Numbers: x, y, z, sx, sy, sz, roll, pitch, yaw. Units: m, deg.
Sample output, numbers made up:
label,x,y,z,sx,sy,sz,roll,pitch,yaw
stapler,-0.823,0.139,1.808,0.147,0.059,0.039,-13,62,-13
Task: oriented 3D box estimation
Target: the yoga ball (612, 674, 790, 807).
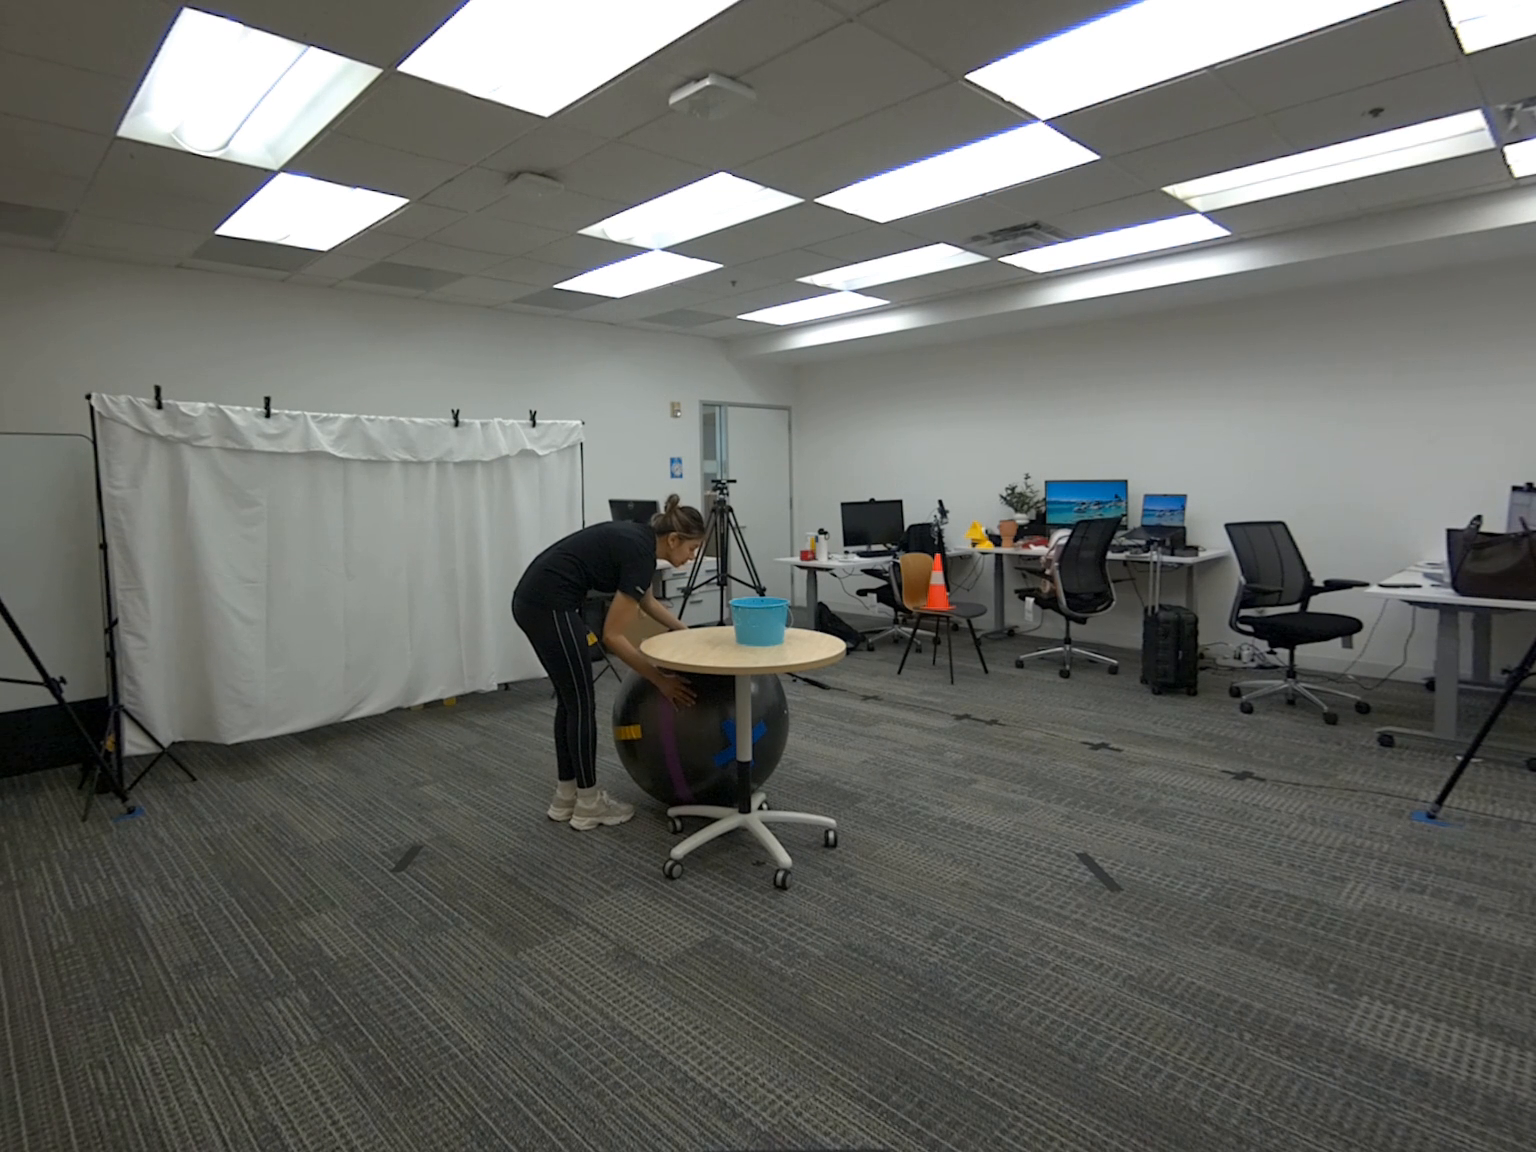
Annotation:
label,x,y,z,sx,sy,sz,roll,pitch,yaw
yoga ball,-0.293,0.629,3.687,0.757,0.755,0.762,-1,5,-2
